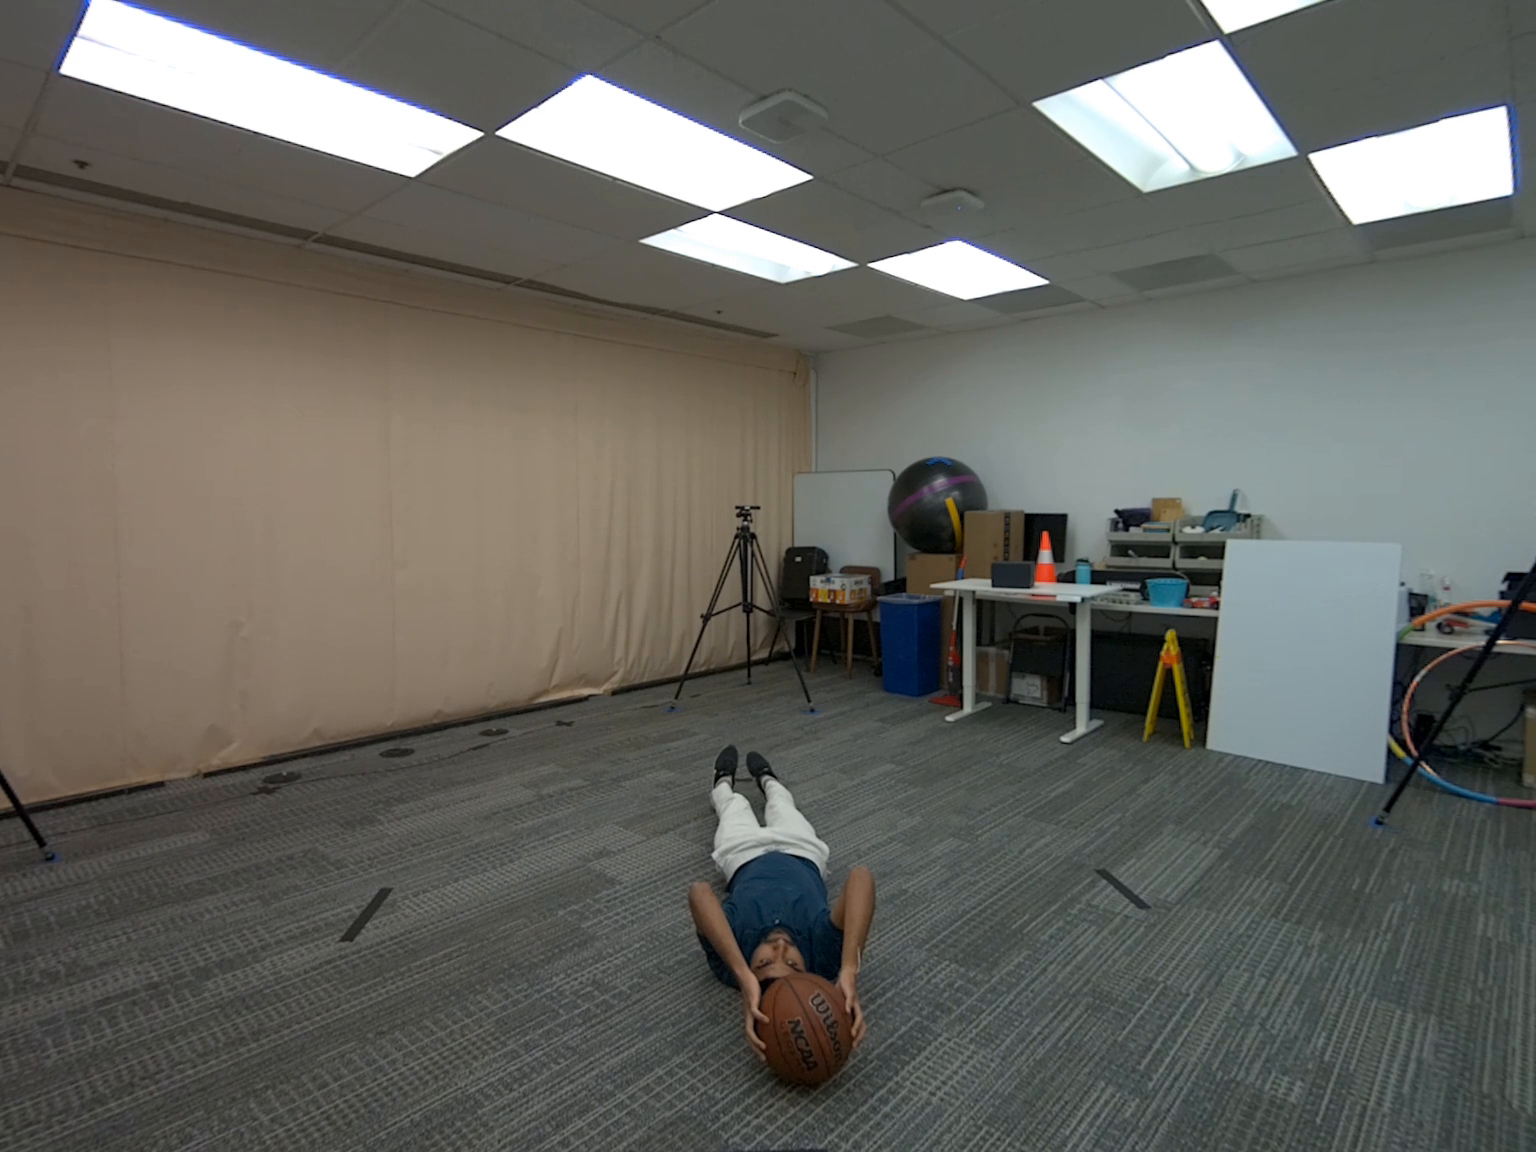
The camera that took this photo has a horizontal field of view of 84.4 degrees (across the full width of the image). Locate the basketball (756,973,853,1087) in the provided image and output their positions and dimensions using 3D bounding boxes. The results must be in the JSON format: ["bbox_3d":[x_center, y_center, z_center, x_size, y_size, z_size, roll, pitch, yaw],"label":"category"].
[{"bbox_3d":[0.097,1.106,2.046,0.236,0.235,0.237,0,4,-2],"label":"basketball"}]
